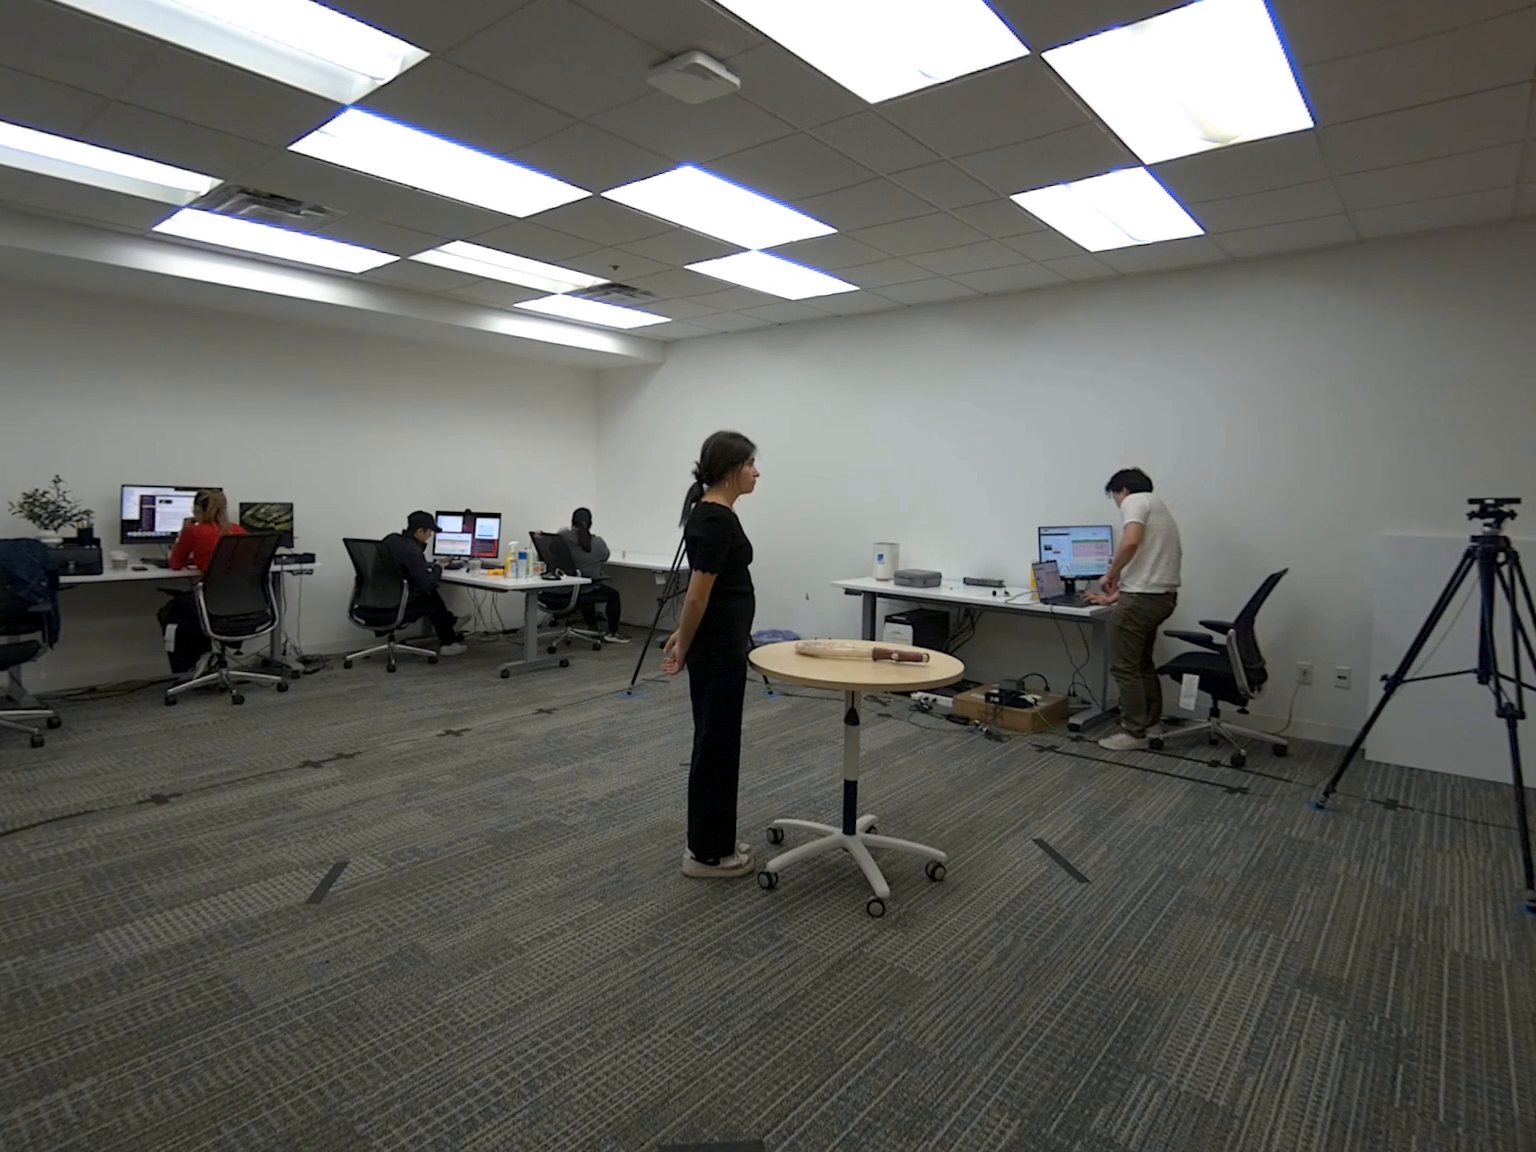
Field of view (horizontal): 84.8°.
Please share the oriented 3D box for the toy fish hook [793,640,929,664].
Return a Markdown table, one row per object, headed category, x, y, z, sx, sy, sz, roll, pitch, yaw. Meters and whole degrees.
| category | x | y | z | sx | sy | sz | roll | pitch | yaw |
| --- | --- | --- | --- | --- | --- | --- | --- | --- | --- |
| toy fish hook | 0.343 | 0.274 | 3.125 | 0.519 | 0.048 | 0.221 | 3 | 10 | 25 |
